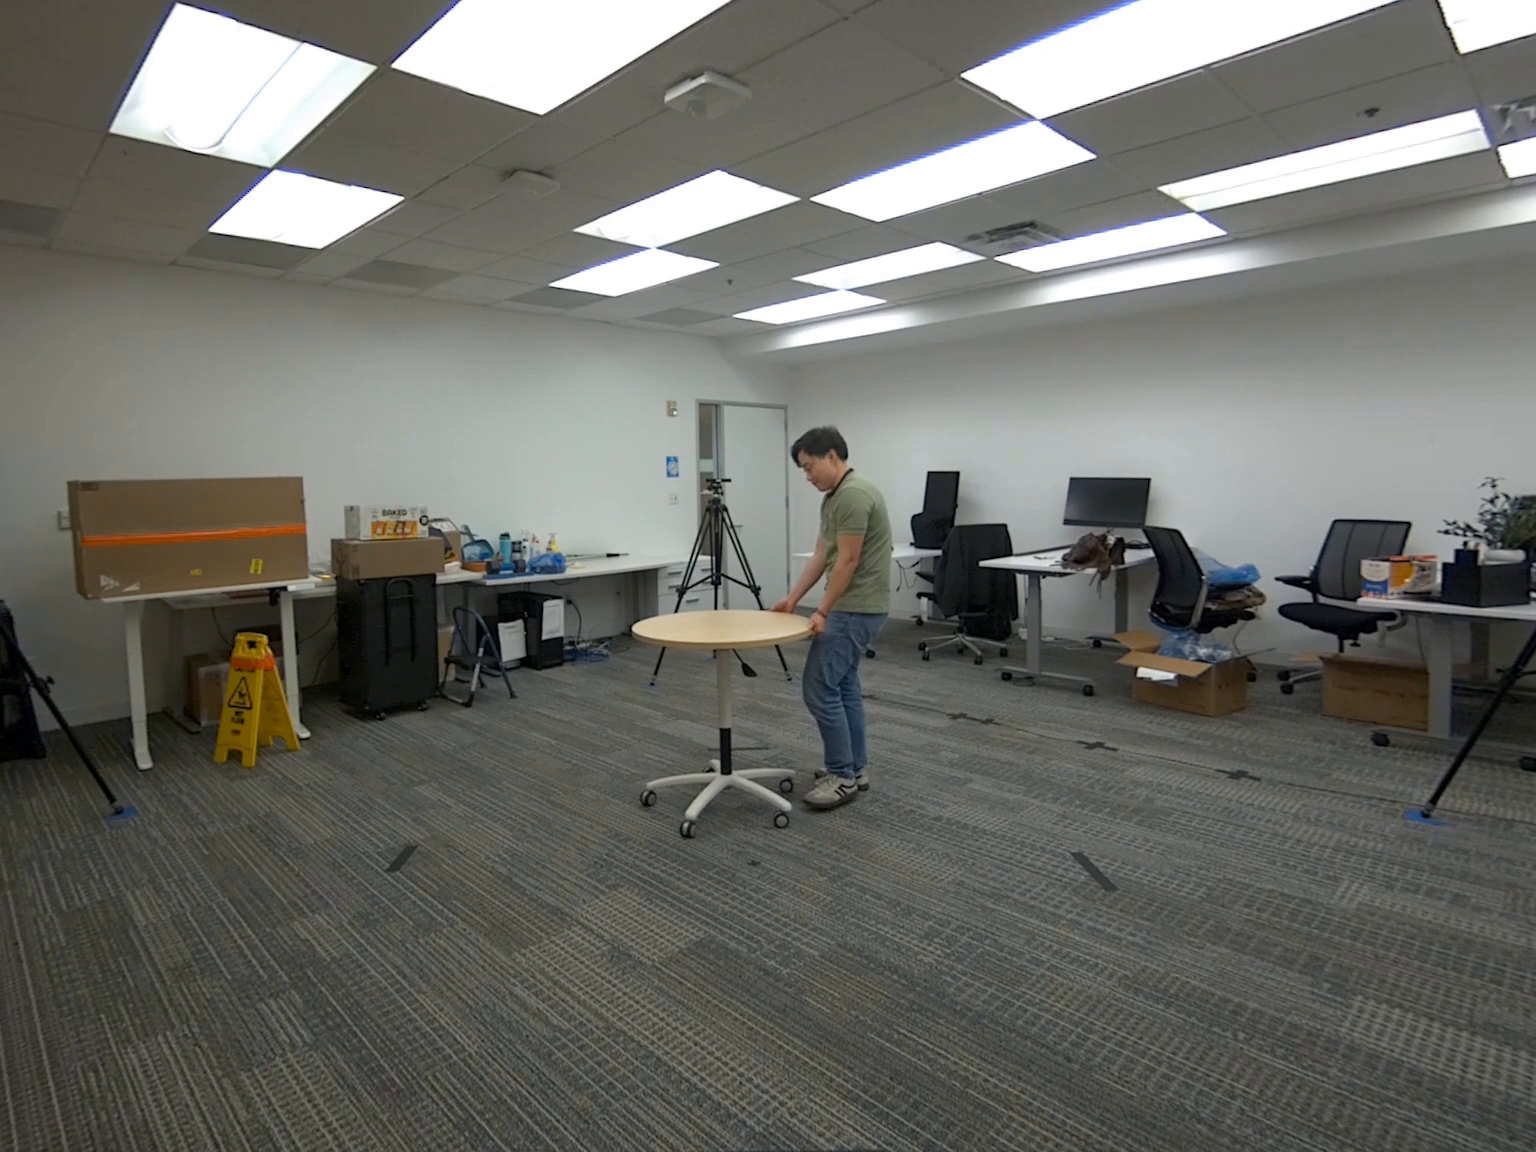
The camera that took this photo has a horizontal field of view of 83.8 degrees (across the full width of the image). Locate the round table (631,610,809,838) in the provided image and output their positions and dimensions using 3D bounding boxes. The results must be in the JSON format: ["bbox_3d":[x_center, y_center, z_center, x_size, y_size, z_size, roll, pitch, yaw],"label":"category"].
[{"bbox_3d":[-0.192,0.597,3.631,0.763,0.791,0.768,-1,5,-2],"label":"round table"}]
